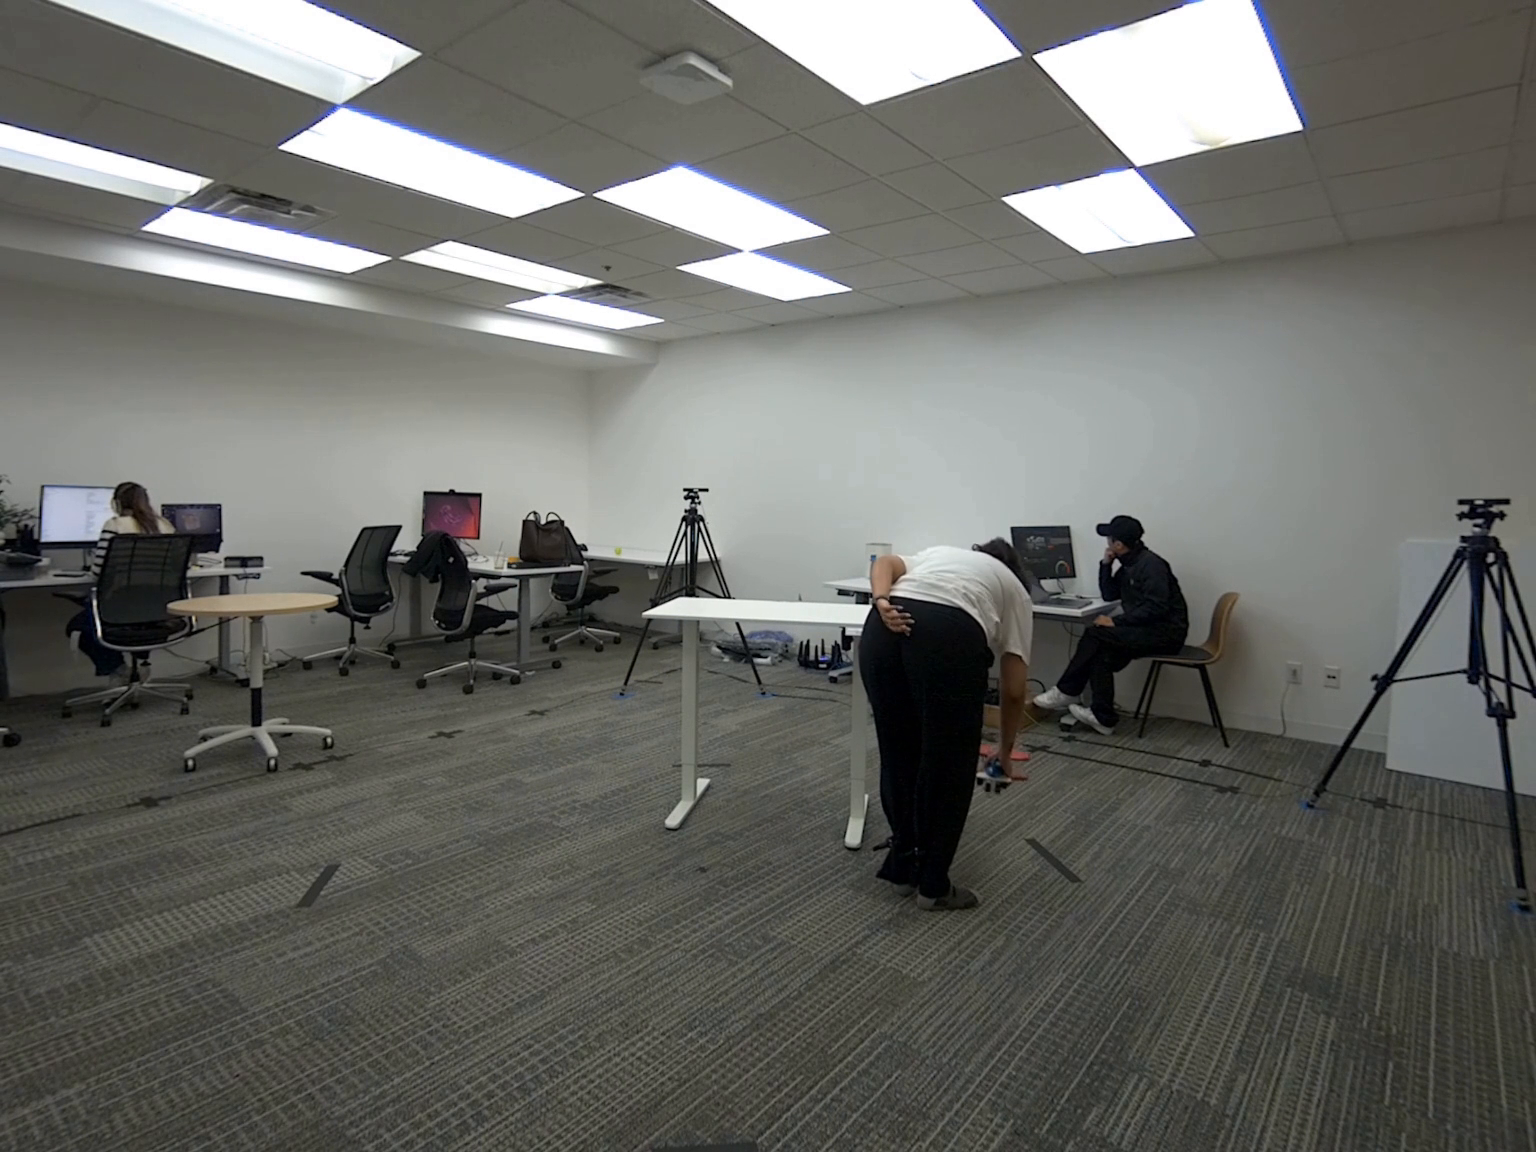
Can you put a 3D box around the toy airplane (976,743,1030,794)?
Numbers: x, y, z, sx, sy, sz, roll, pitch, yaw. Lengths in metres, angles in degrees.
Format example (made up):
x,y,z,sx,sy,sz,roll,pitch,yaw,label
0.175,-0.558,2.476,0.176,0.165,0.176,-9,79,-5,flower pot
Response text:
x,y,z,sx,sy,sz,roll,pitch,yaw,label
0.856,0.704,3.191,0.248,0.157,0.261,9,-7,-11,toy airplane
